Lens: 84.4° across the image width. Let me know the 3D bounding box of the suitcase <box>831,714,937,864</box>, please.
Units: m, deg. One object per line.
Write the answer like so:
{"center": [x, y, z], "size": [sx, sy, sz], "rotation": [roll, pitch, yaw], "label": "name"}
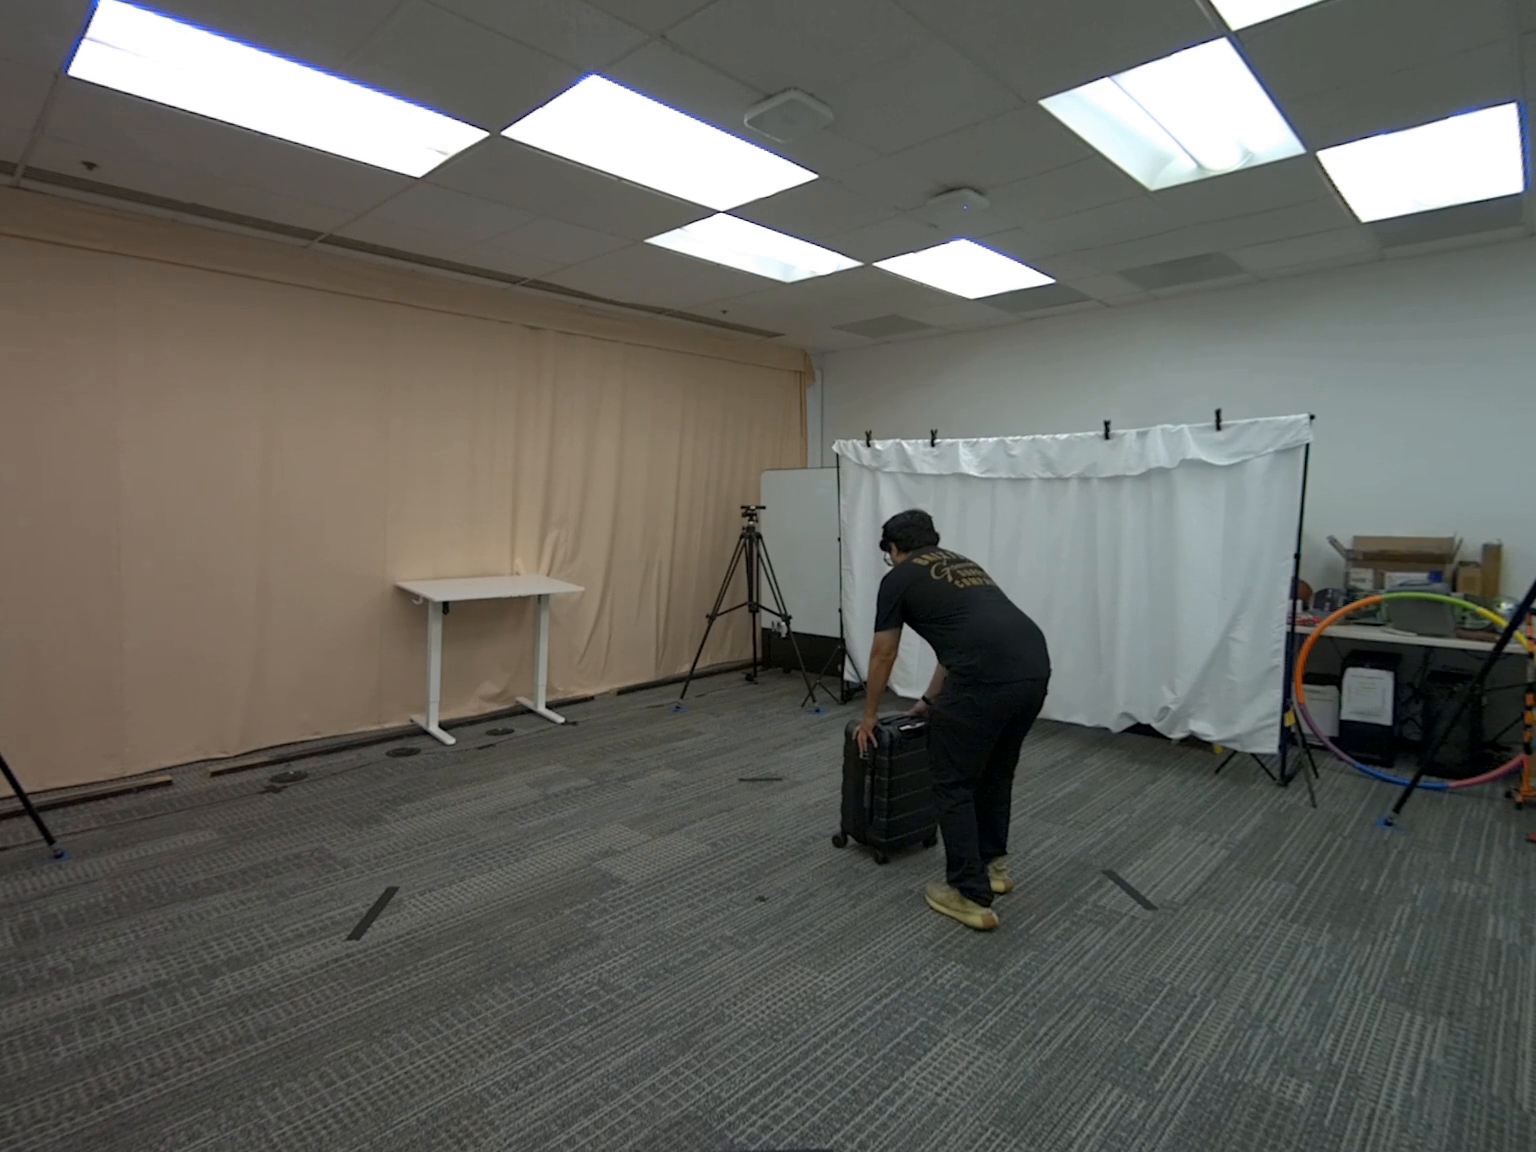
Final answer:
{"center": [0.494, 0.831, 3.410], "size": [0.364, 0.548, 0.256], "rotation": [-2, 6, -38], "label": "suitcase"}
